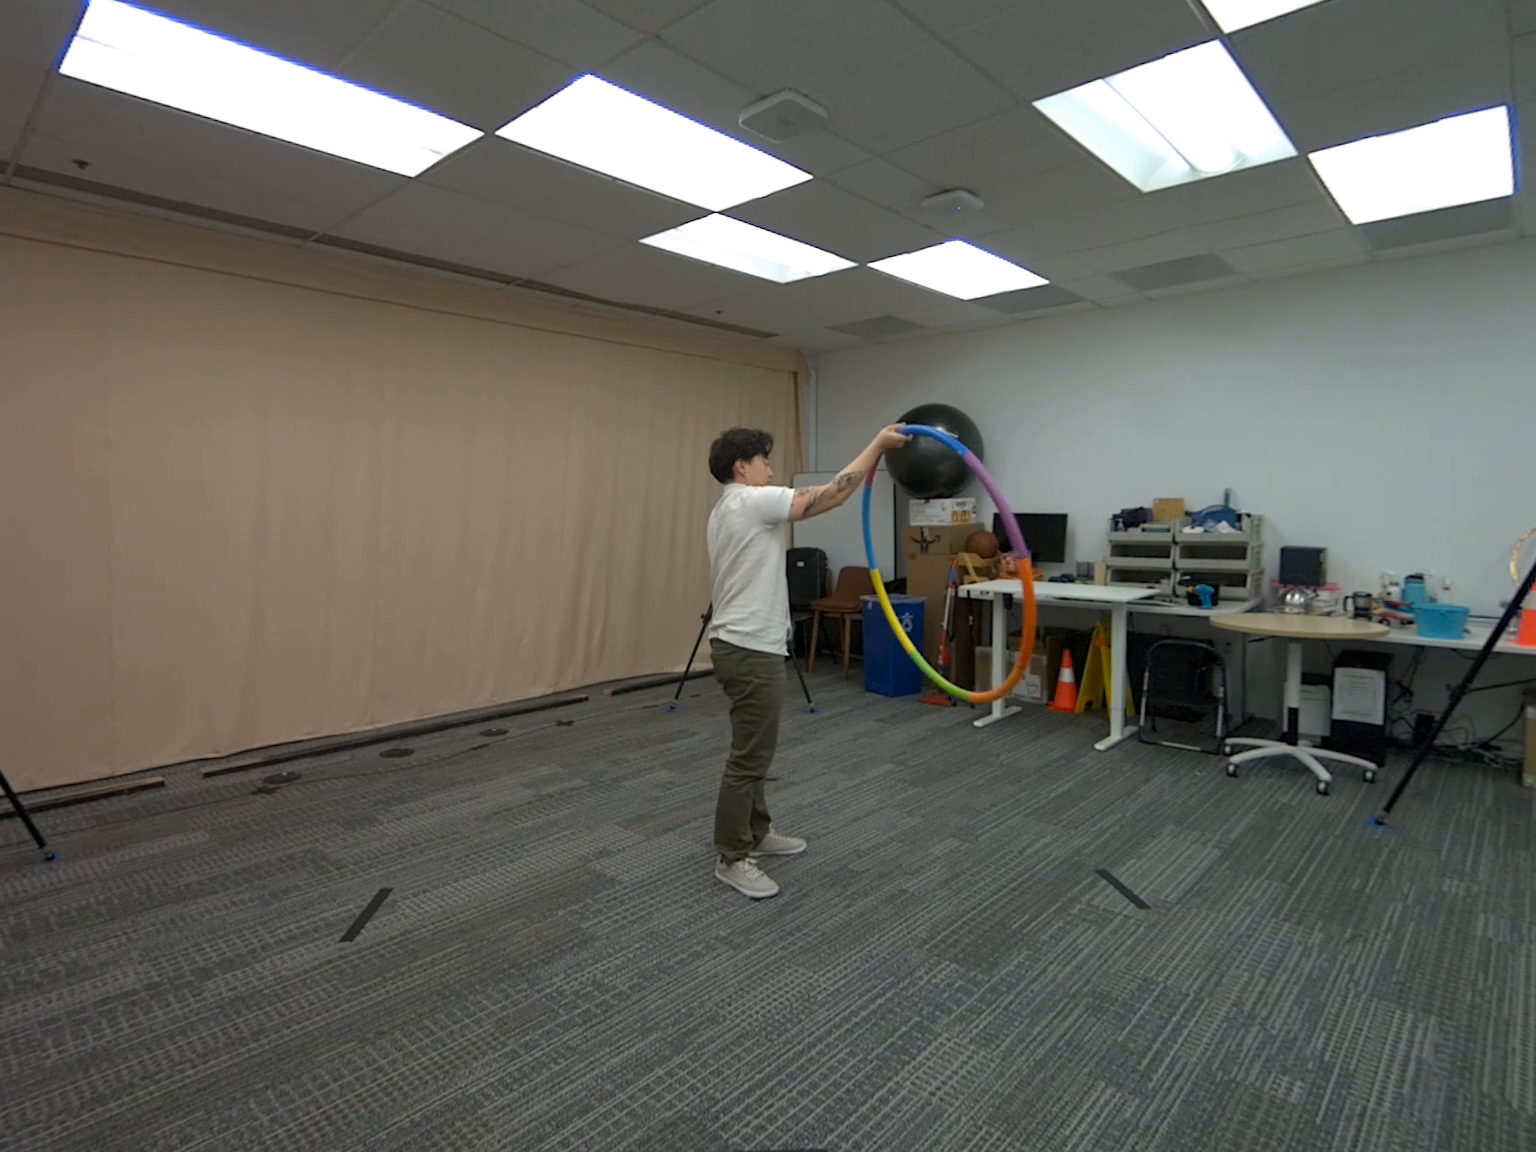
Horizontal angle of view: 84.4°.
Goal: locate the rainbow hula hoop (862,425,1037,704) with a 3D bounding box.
[{"bbox_3d":[0.589,-0.035,2.955,0.035,0.973,1.001,-14,8,-21],"label":"rainbow hula hoop"}]
